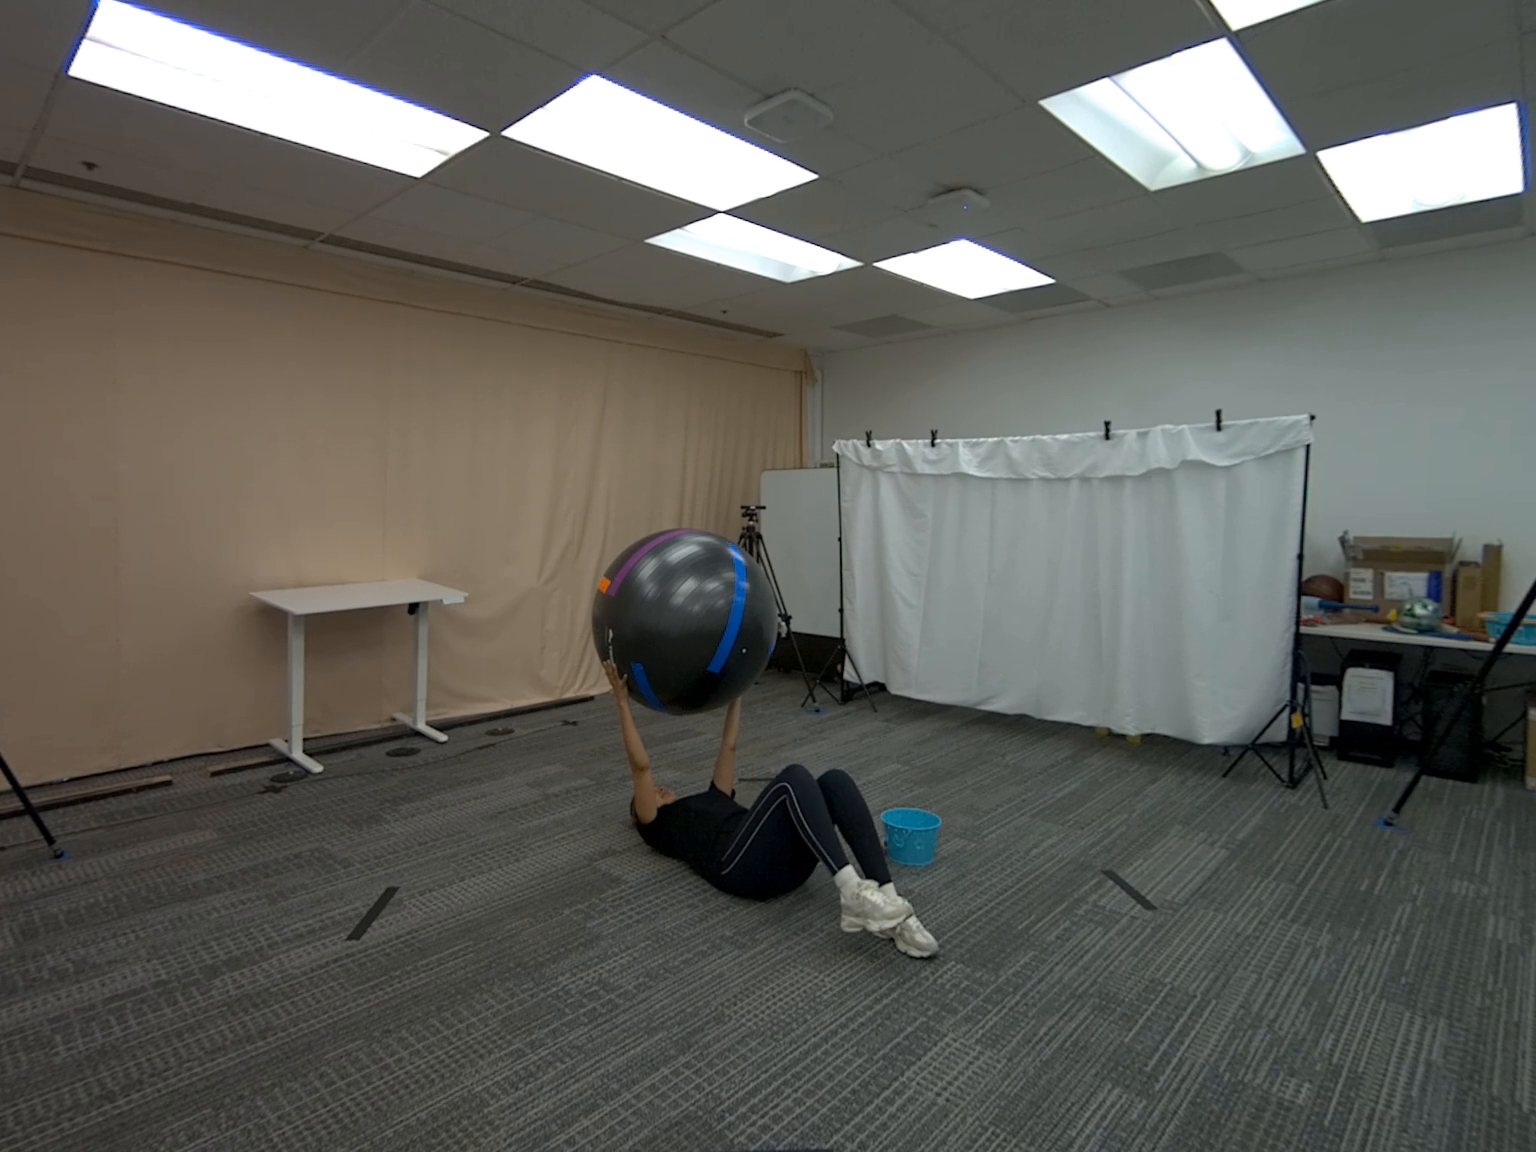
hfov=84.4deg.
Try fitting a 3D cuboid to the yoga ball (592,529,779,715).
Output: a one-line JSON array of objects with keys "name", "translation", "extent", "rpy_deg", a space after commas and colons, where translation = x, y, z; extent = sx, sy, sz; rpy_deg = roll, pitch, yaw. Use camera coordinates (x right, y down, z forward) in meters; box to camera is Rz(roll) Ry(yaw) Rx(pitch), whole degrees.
[{"name": "yoga ball", "translation": [-0.340, 0.187, 3.435], "extent": [0.757, 0.756, 0.761], "rpy_deg": [3, 5, -2]}]
